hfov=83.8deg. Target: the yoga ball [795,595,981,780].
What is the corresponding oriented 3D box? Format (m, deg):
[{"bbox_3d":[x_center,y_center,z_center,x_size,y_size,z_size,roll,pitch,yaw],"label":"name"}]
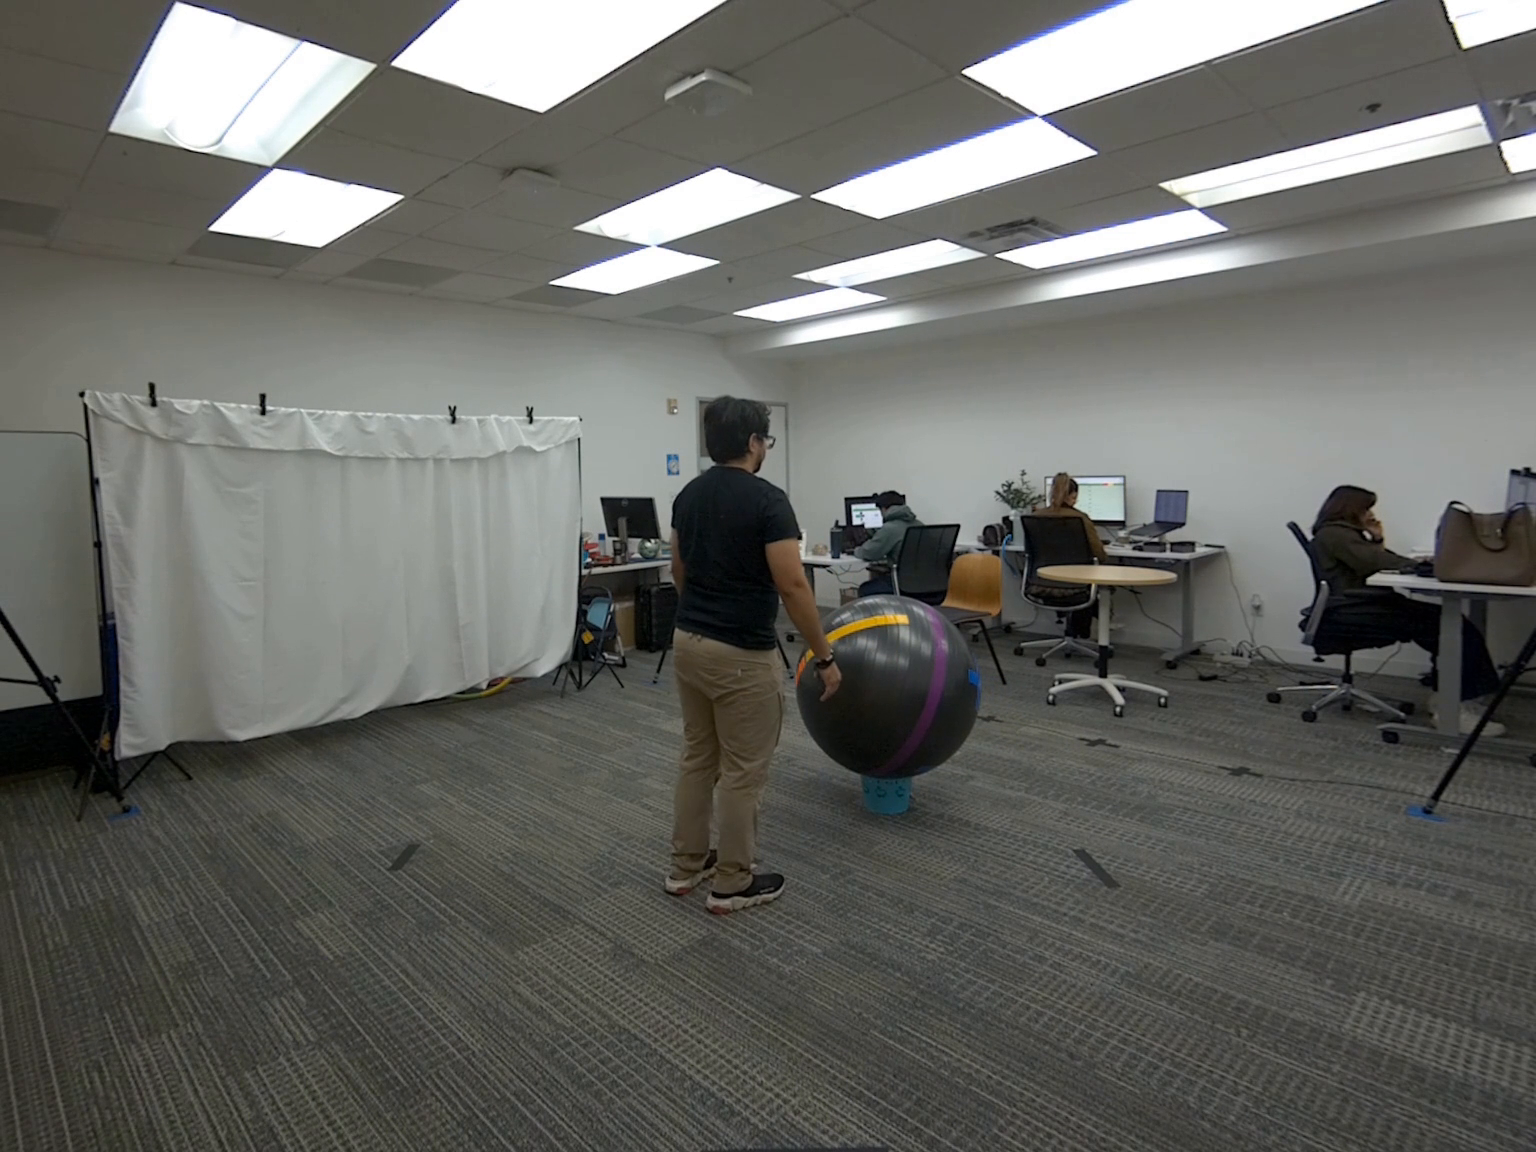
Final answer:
[{"bbox_3d":[0.489,0.459,3.578,0.757,0.755,0.762,-1,5,-2],"label":"yoga ball"}]
